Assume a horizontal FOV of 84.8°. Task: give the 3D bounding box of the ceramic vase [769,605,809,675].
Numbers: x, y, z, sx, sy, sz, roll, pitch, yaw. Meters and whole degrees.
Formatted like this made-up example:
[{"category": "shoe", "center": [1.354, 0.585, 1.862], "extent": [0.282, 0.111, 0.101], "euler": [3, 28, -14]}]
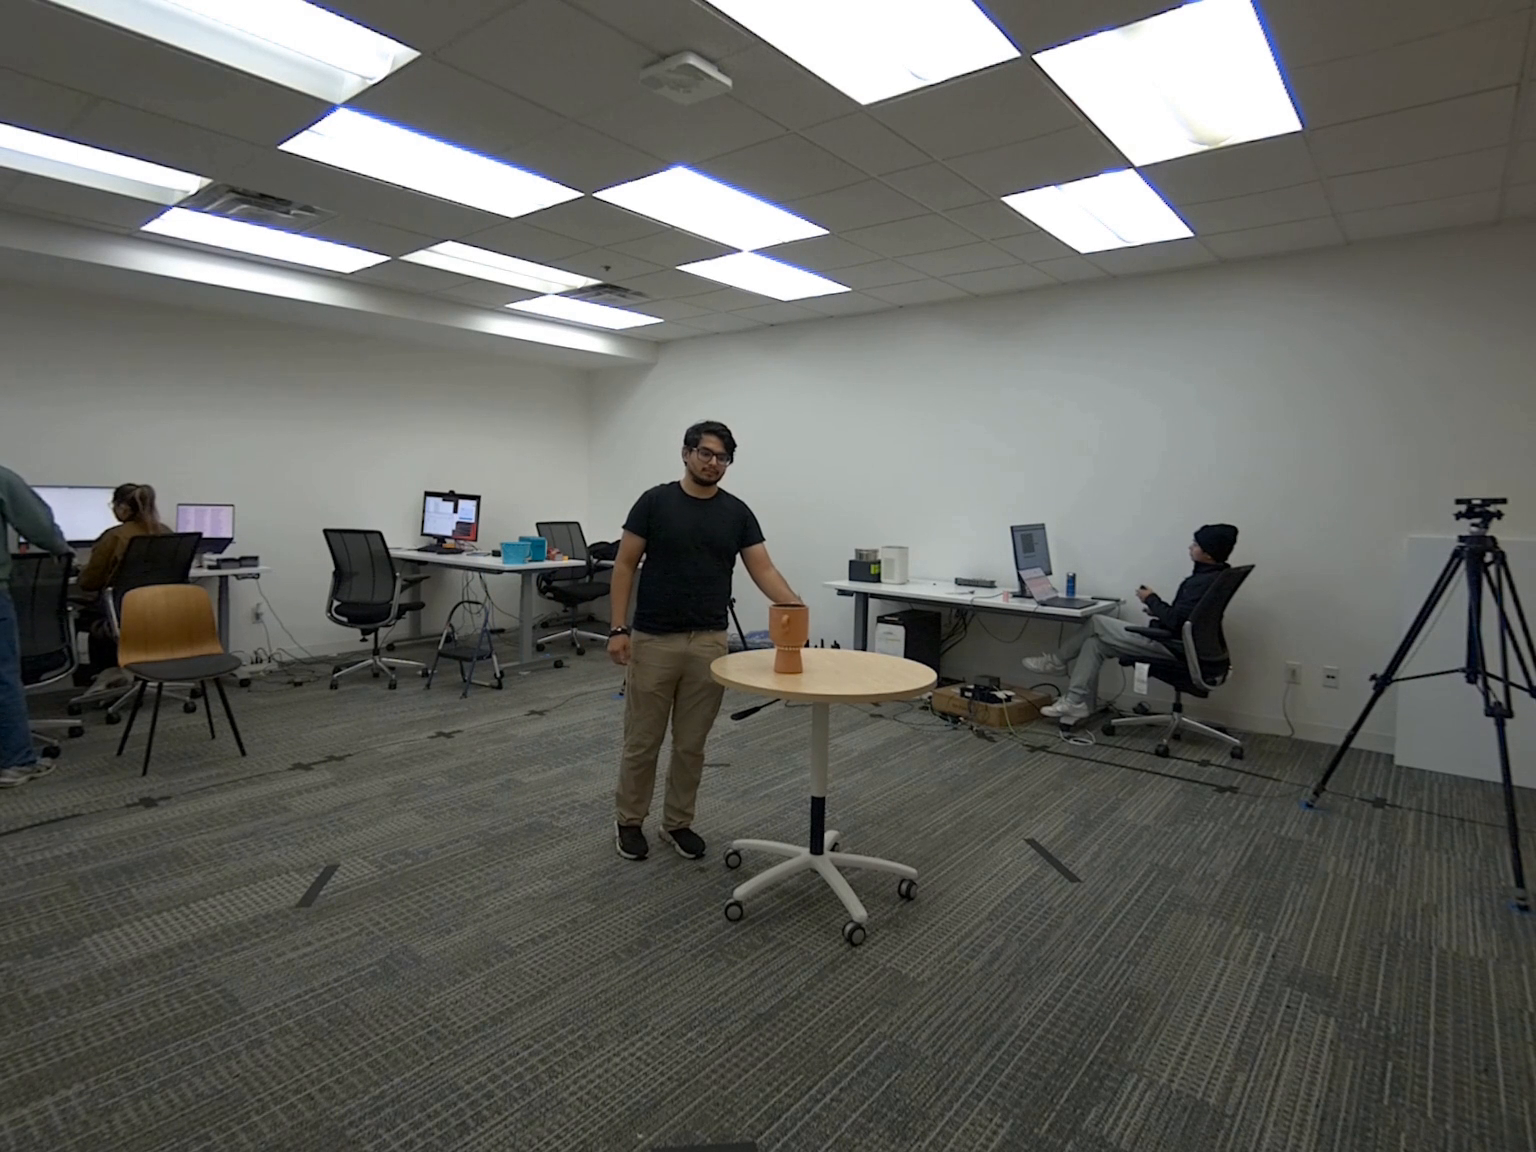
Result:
[{"category": "ceramic vase", "center": [0.064, 0.207, 2.850], "extent": [0.154, 0.219, 0.139], "euler": [-2, 4, -41]}]
